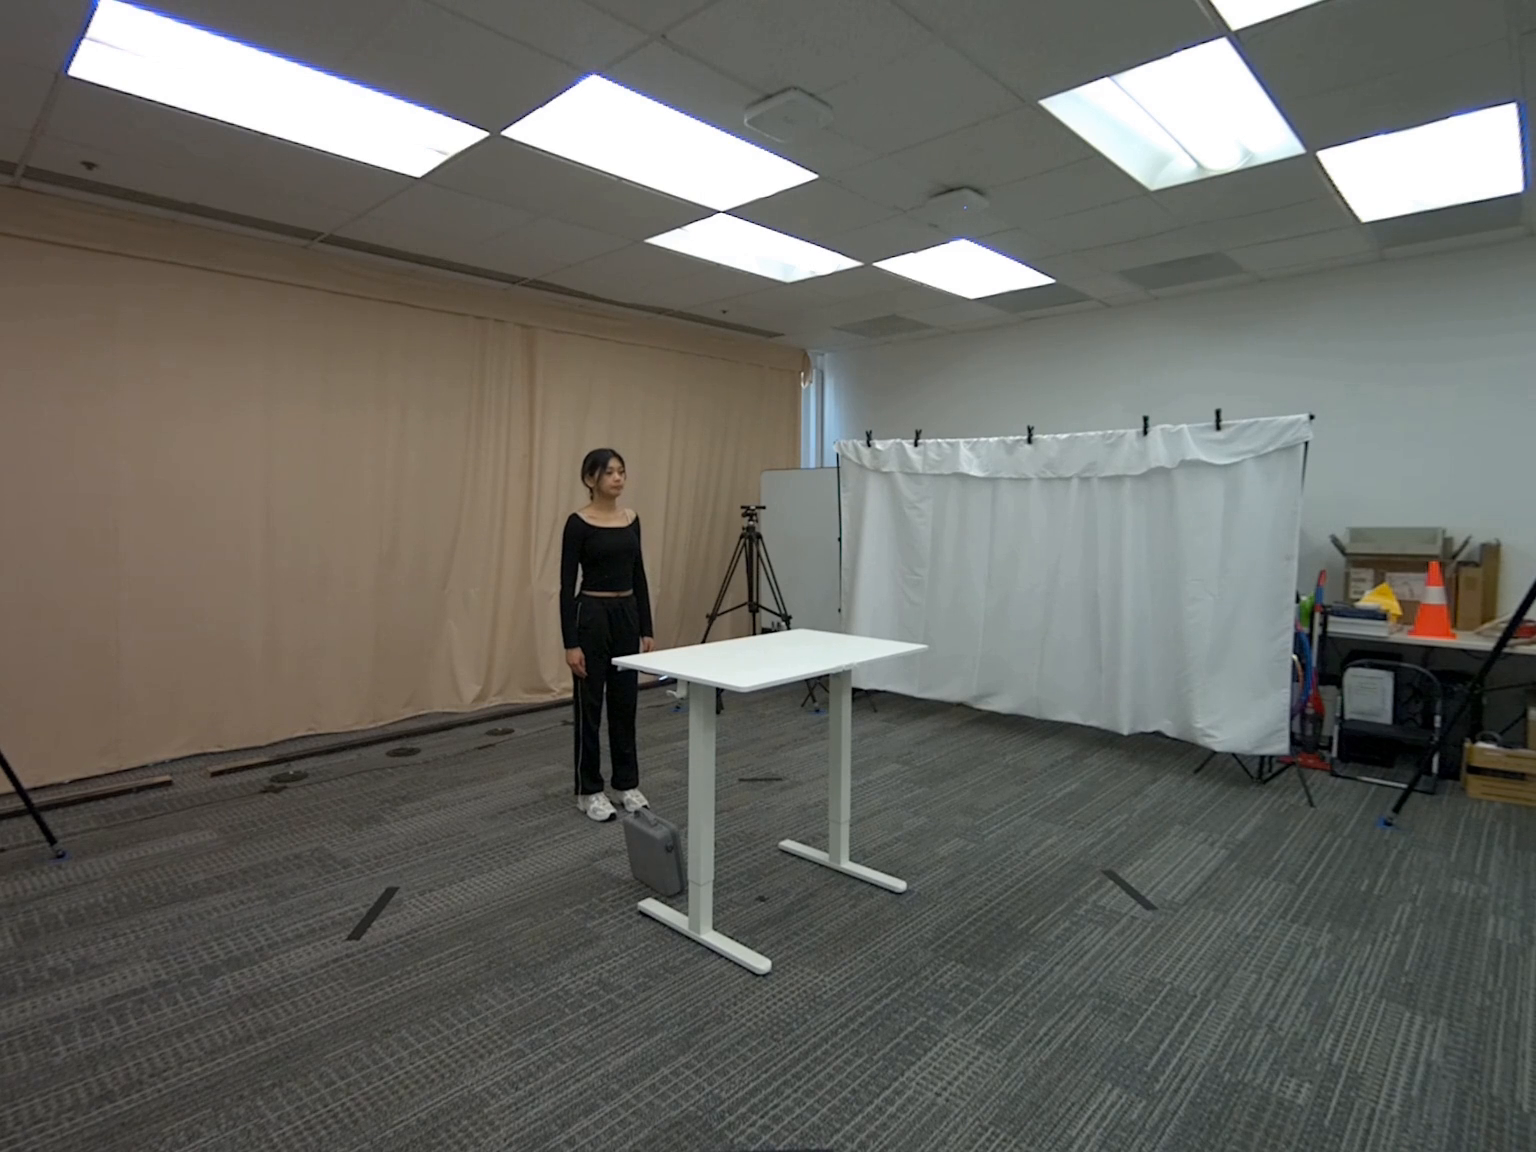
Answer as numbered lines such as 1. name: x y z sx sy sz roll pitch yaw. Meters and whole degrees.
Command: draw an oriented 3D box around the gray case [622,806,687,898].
1. gray case: -0.415 1.005 3.084 0.102 0.259 0.265 -14 12 -36
